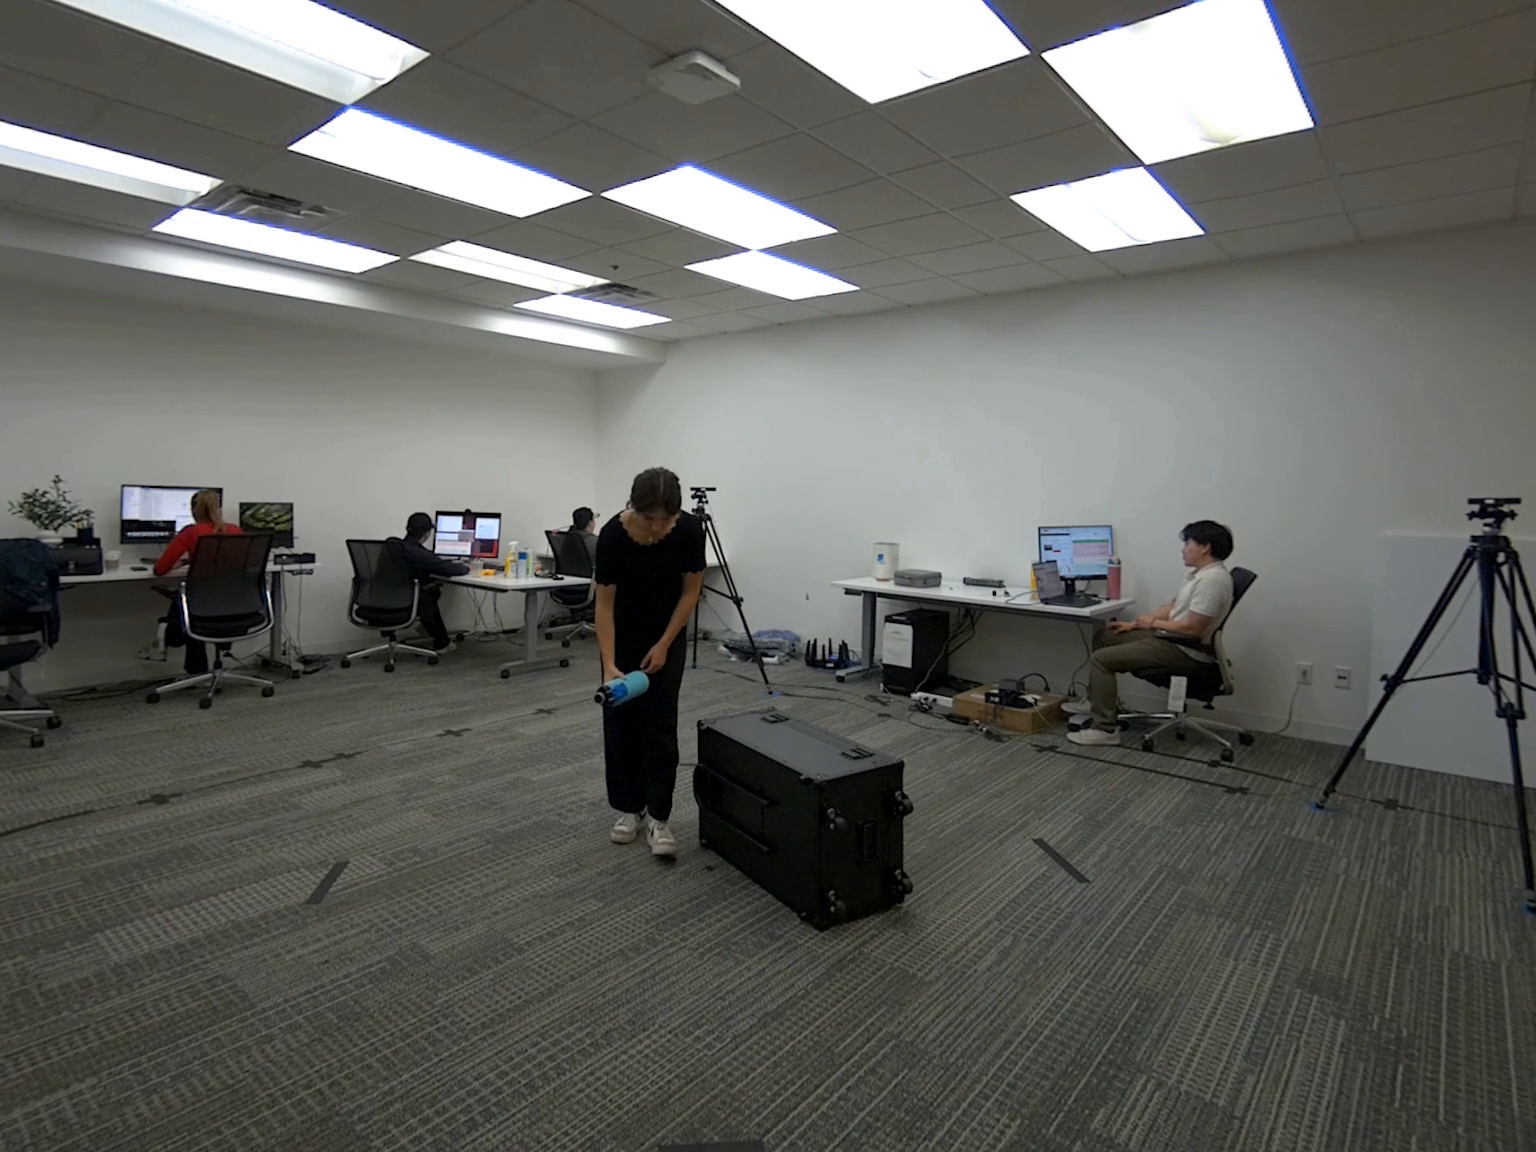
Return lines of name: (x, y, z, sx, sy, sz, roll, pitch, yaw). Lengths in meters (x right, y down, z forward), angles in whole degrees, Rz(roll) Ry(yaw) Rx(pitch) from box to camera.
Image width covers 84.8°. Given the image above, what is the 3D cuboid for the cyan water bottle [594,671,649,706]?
cyan water bottle: (-0.548, 0.408, 3.068, 0.094, 0.092, 0.279, 2, 5, 16)
